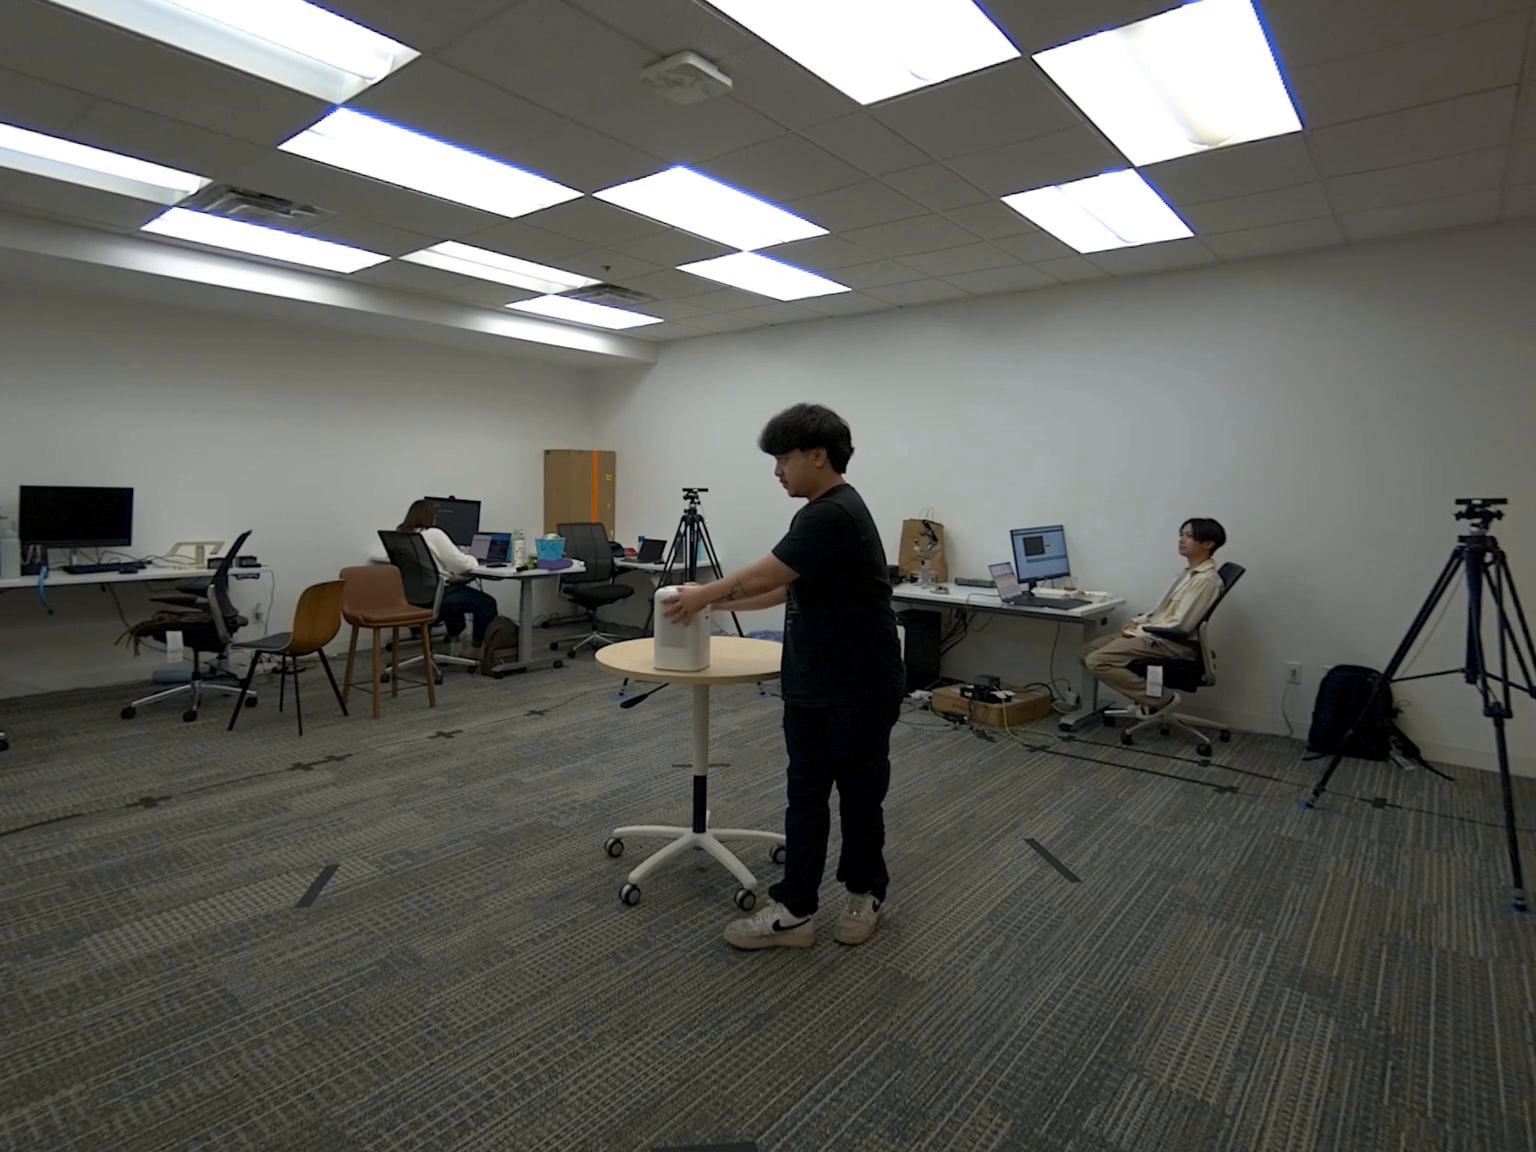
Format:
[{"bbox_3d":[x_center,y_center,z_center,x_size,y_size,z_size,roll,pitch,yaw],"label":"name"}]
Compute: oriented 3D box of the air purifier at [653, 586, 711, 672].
[{"bbox_3d":[-0.296,0.171,2.844,0.174,0.264,0.169,1,4,13],"label":"air purifier"}]
